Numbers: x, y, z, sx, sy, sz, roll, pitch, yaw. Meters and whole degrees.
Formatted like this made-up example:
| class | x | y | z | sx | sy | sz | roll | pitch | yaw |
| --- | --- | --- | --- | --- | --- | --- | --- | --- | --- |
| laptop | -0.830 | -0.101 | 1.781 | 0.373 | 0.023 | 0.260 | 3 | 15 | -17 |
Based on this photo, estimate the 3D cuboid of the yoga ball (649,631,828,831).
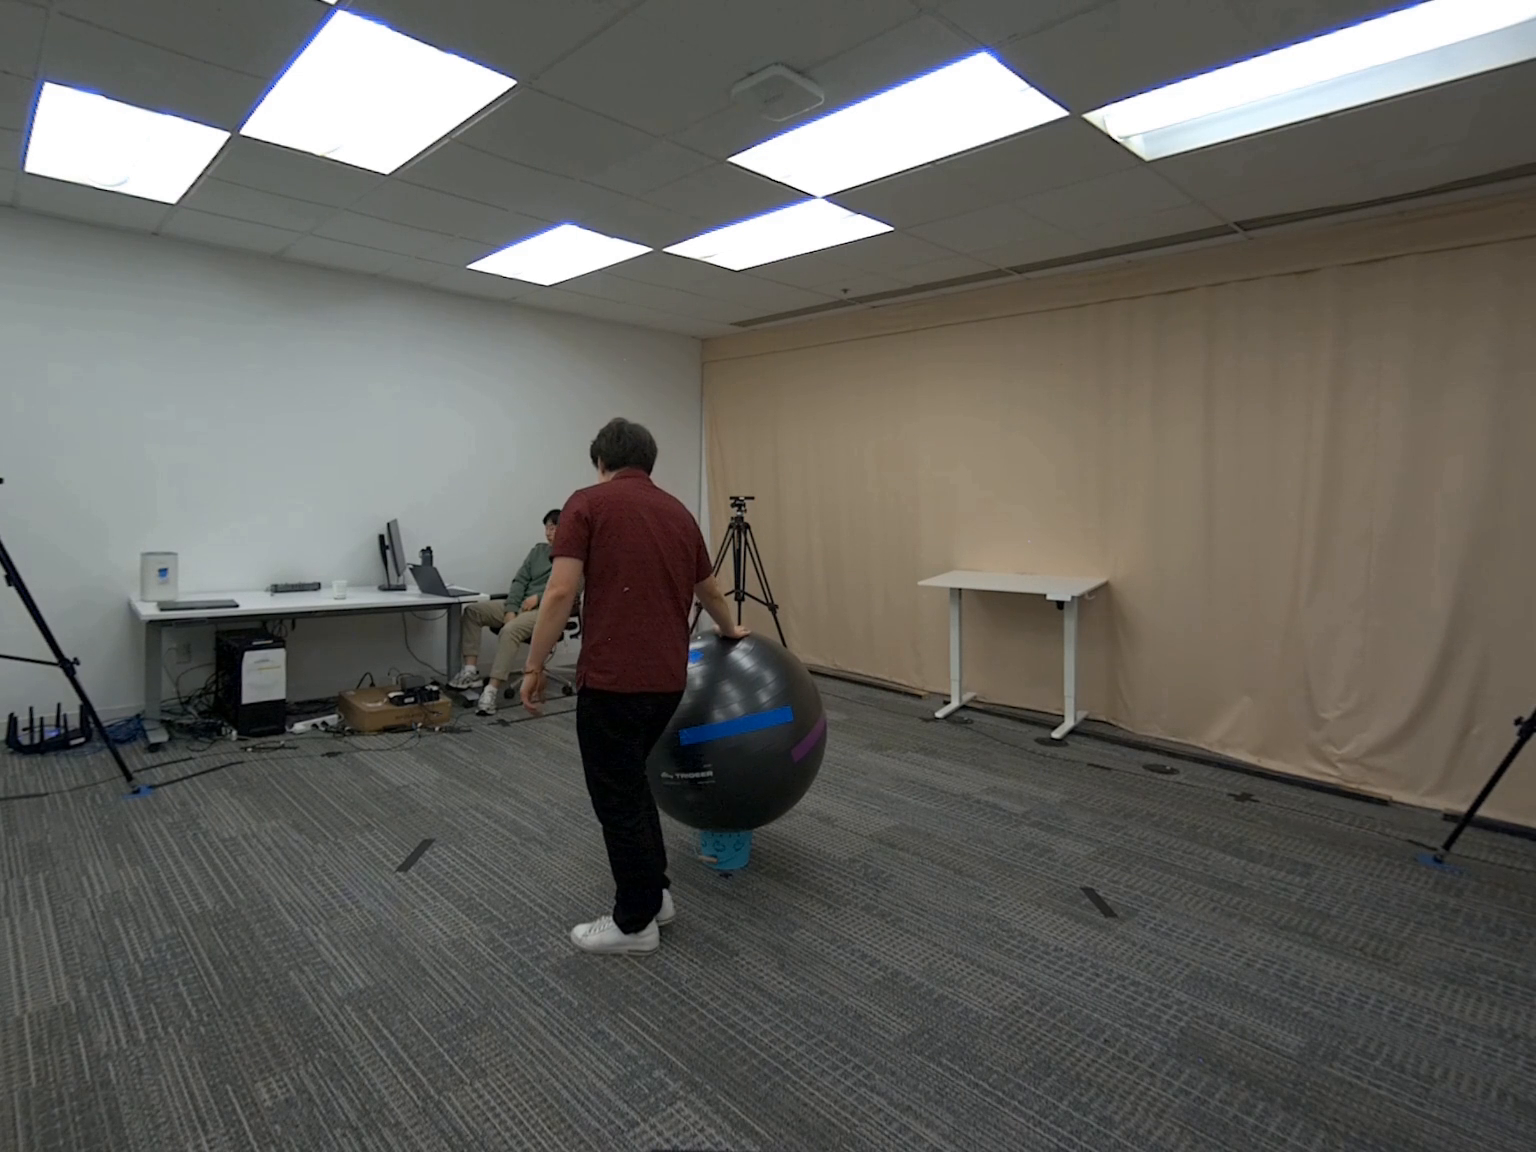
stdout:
| class | x | y | z | sx | sy | sz | roll | pitch | yaw |
| --- | --- | --- | --- | --- | --- | --- | --- | --- | --- |
| yoga ball | -0.165 | 0.582 | 3.198 | 0.757 | 0.756 | 0.761 | 1 | 4 | -1 |
